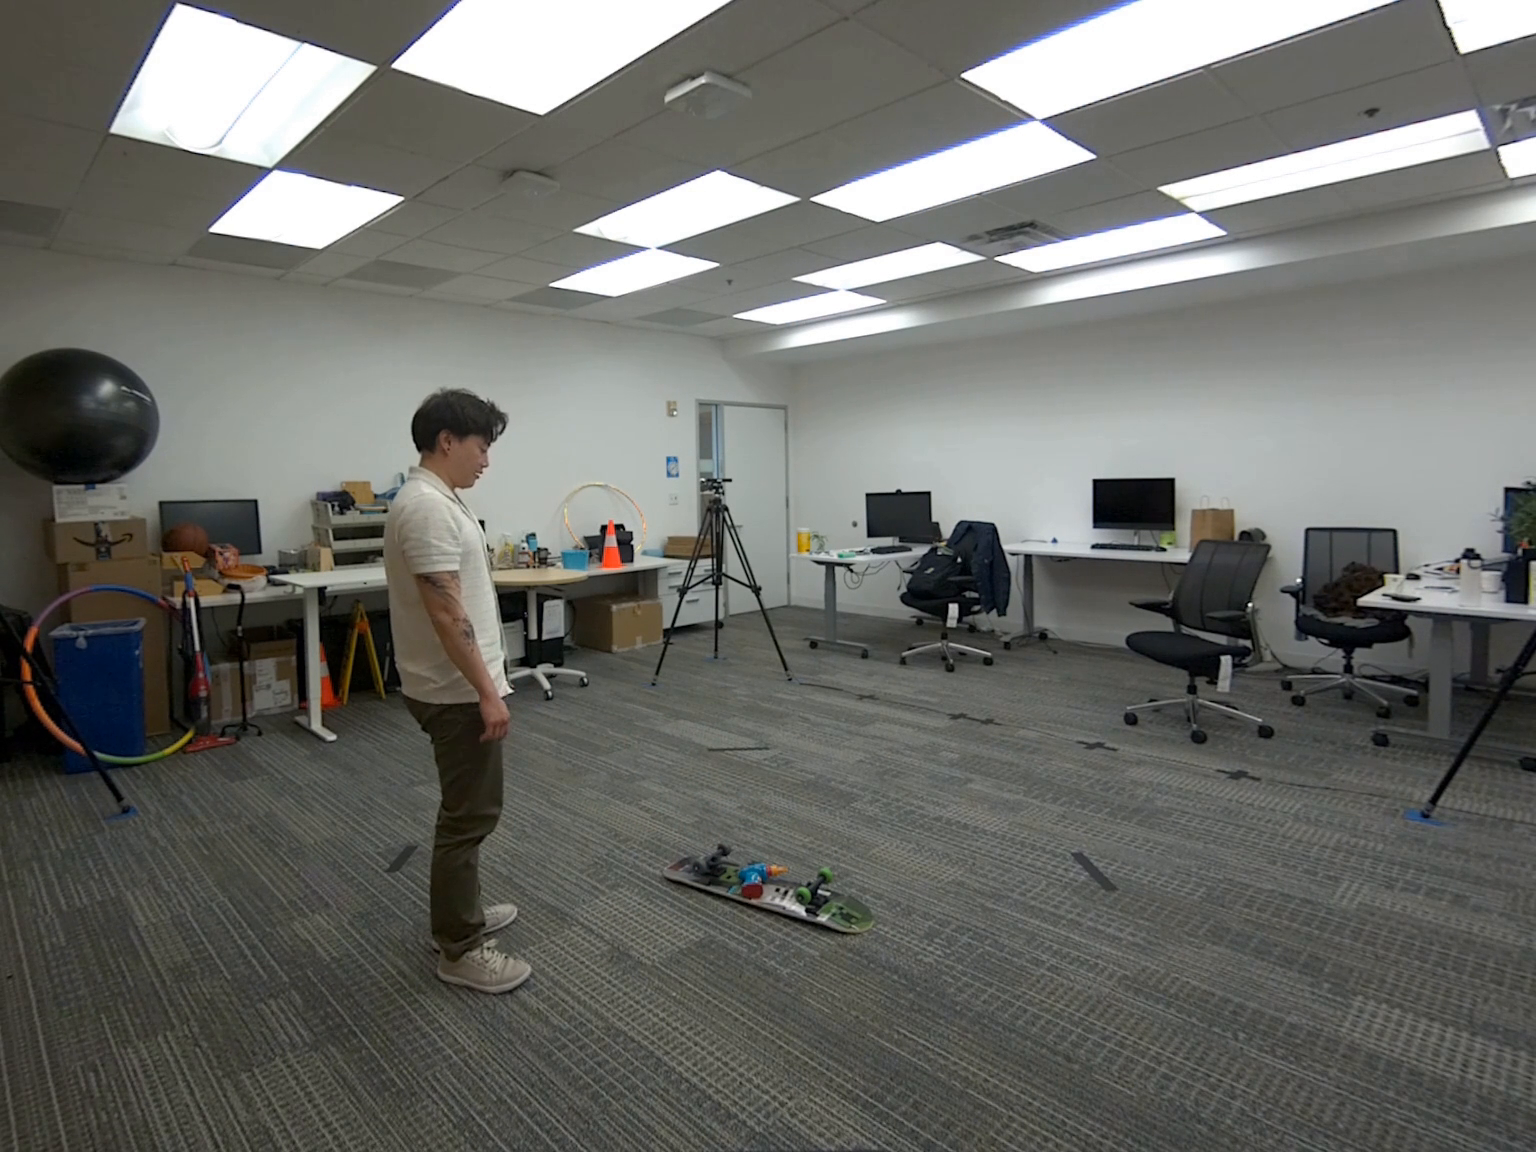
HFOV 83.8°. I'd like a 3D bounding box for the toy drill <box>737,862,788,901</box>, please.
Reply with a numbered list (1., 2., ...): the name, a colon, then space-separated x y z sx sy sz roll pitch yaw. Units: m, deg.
1. toy drill: -0.016 1.013 2.850 0.170 0.061 0.146 -8 7 3
